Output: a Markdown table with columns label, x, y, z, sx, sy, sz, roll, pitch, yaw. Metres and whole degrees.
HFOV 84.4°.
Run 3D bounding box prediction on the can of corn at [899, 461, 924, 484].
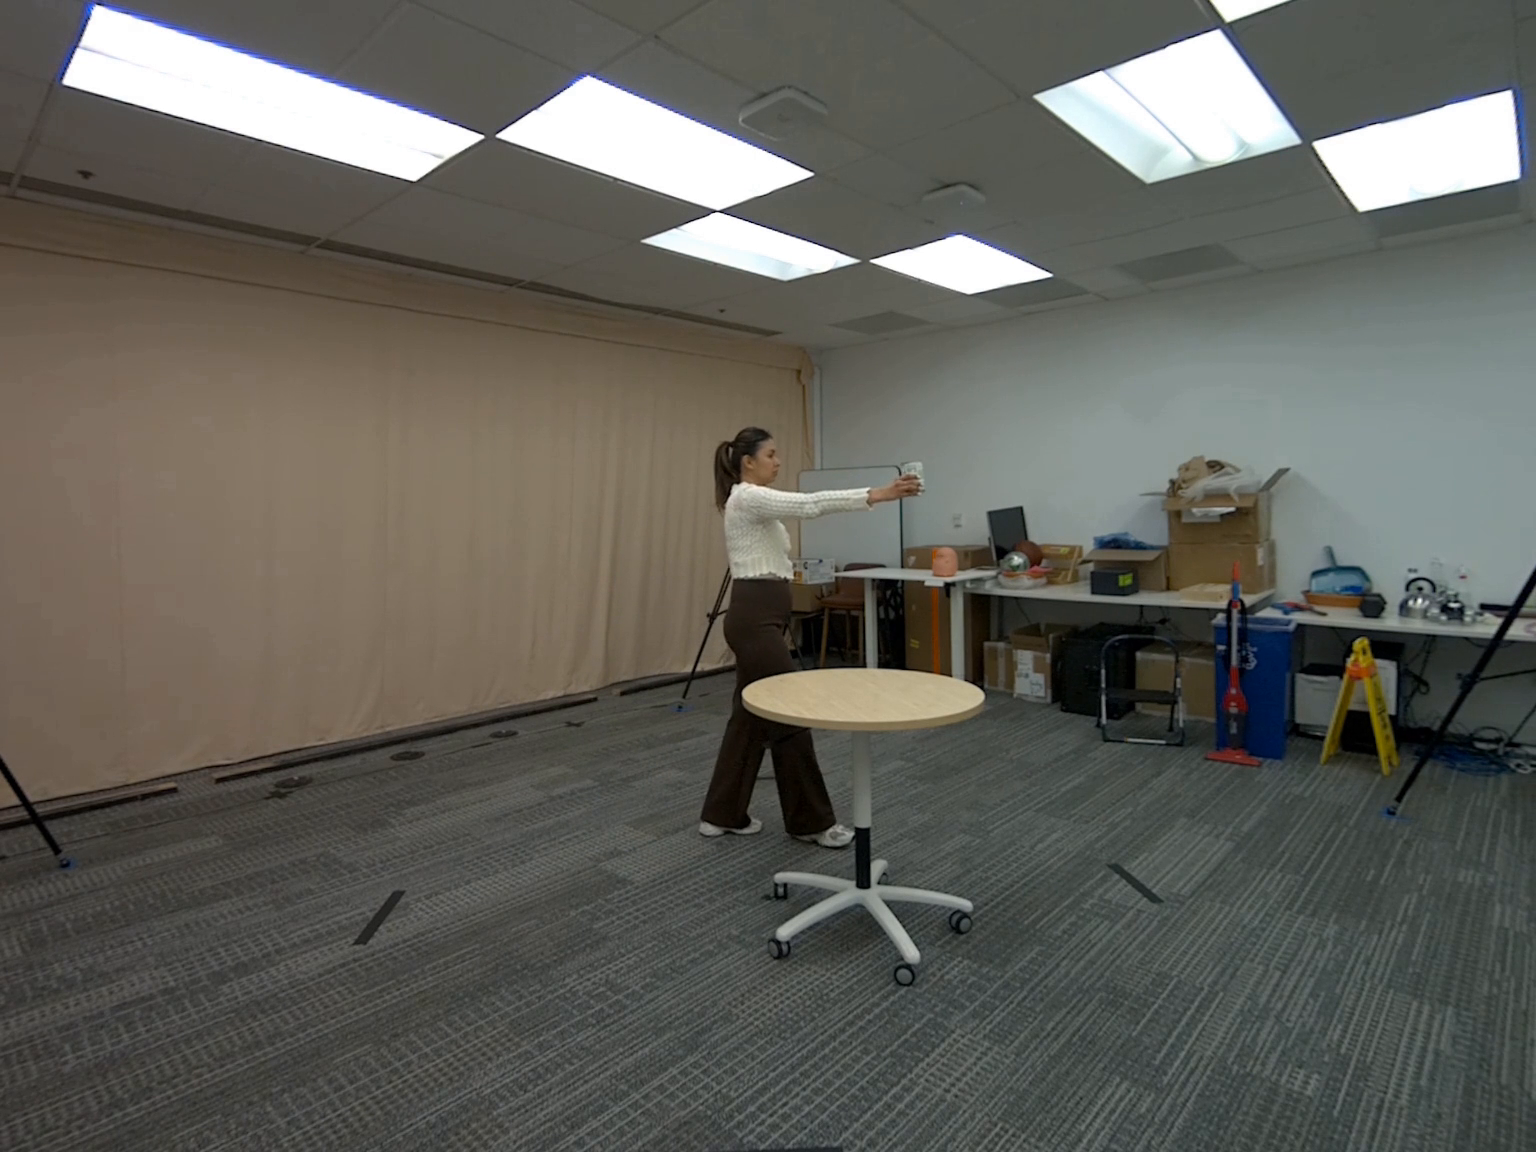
| label | x | y | z | sx | sy | sz | roll | pitch | yaw |
| --- | --- | --- | --- | --- | --- | --- | --- | --- | --- |
| can of corn | 0.524 | -0.357 | 3.039 | 0.074 | 0.111 | 0.074 | -6 | 0 | -2 |
